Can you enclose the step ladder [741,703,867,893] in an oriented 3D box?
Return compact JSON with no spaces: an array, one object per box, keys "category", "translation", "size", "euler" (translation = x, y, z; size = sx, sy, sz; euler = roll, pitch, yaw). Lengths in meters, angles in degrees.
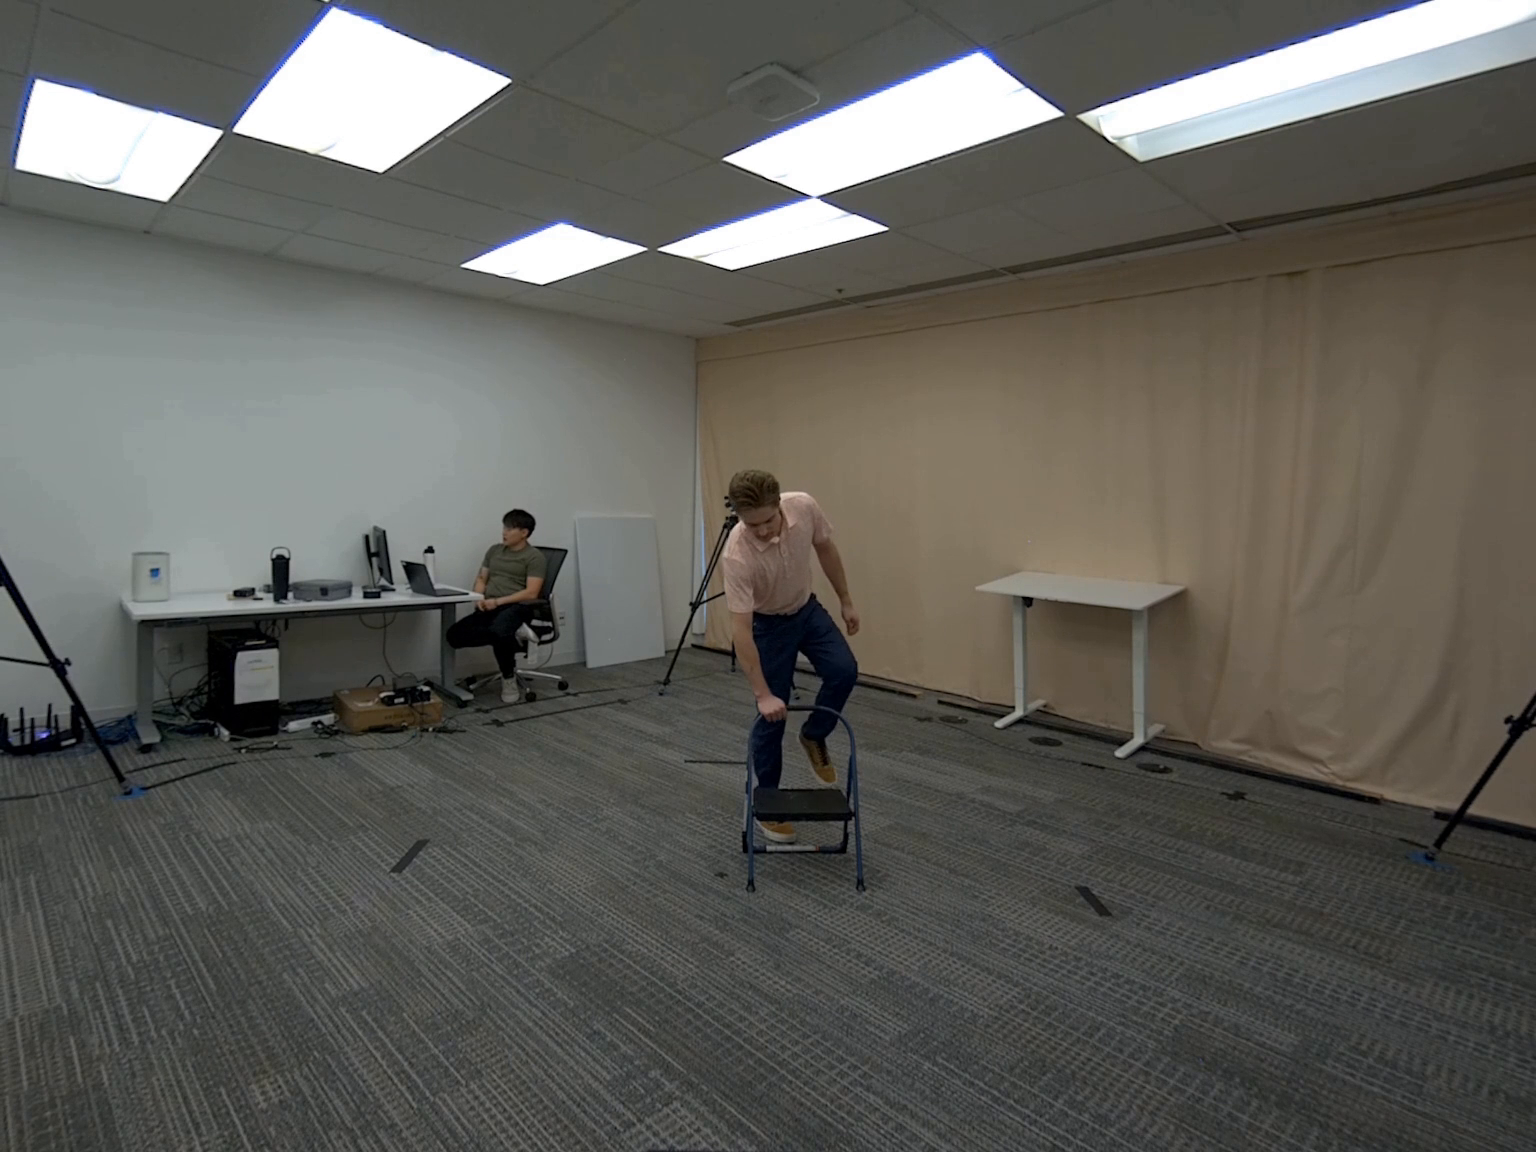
[{"category":"step ladder","translation":[0.121,0.808,3.149],"size":[0.429,0.604,0.351],"euler":[2,4,-5]}]
